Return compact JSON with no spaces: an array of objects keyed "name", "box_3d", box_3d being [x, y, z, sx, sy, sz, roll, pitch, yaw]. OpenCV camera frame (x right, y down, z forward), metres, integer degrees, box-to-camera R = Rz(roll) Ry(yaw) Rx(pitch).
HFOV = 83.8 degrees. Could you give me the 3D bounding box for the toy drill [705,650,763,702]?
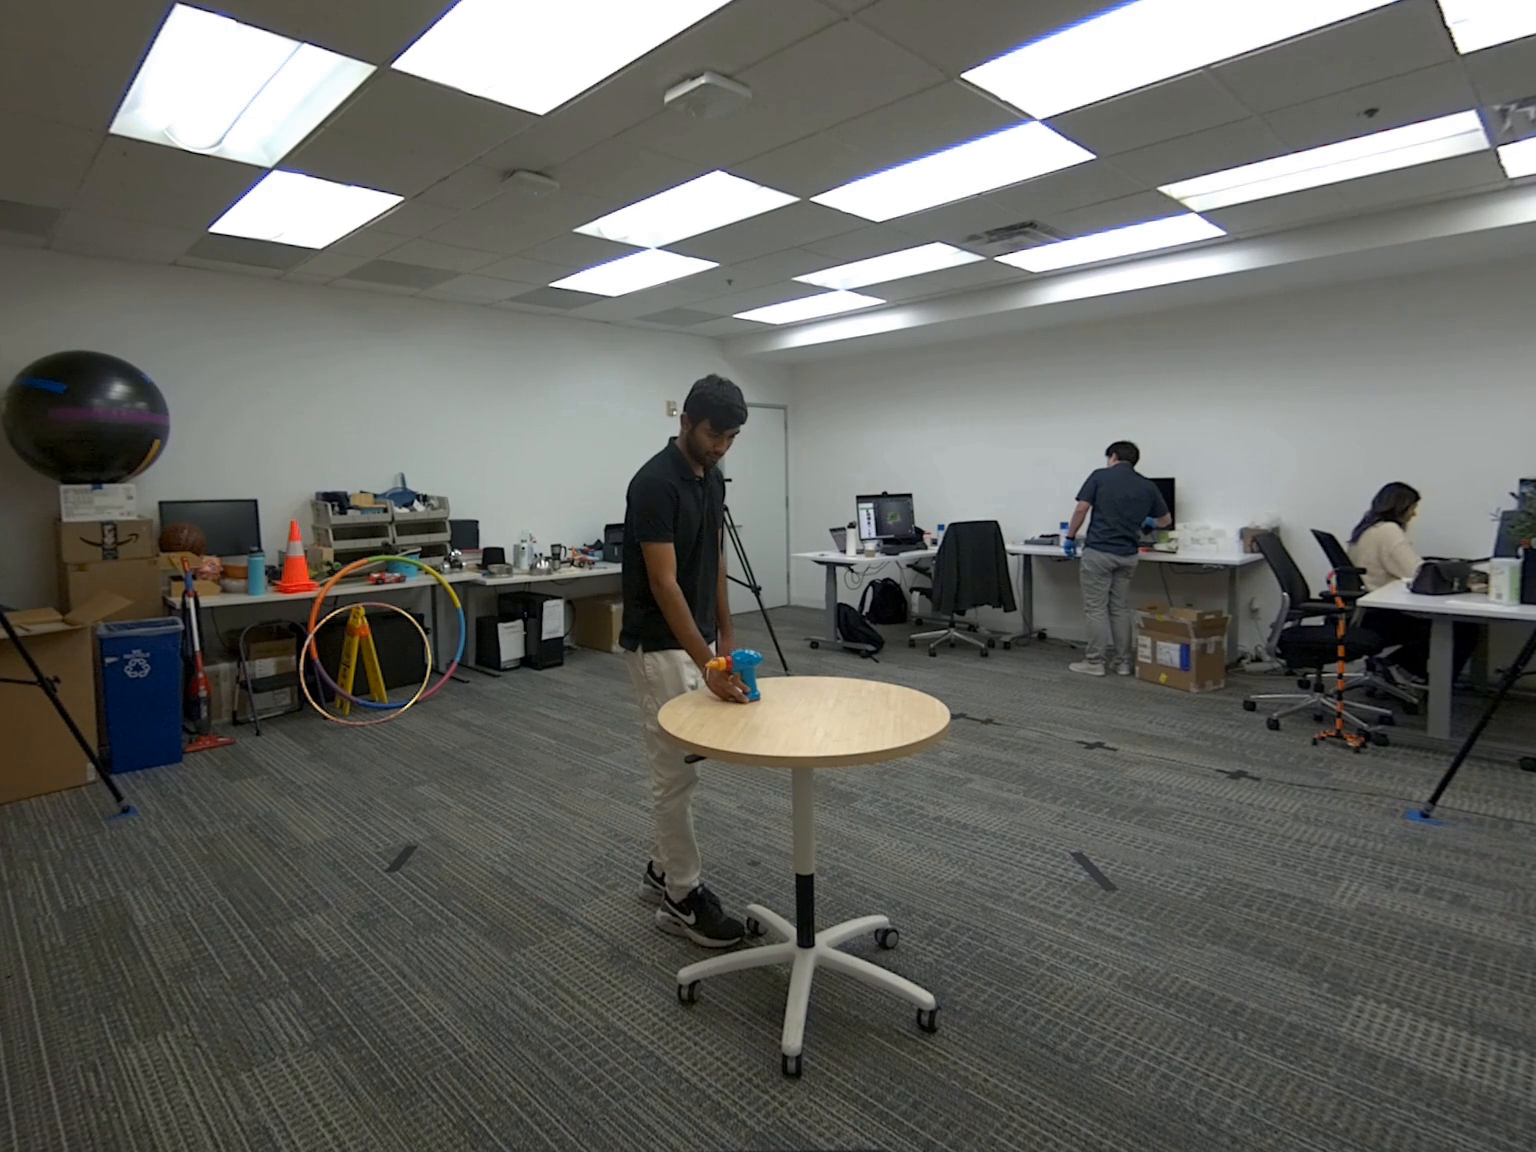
[{"name":"toy drill","box_3d":[-0.084,0.278,2.353,0.167,0.145,0.062,-5,6,-22]}]
